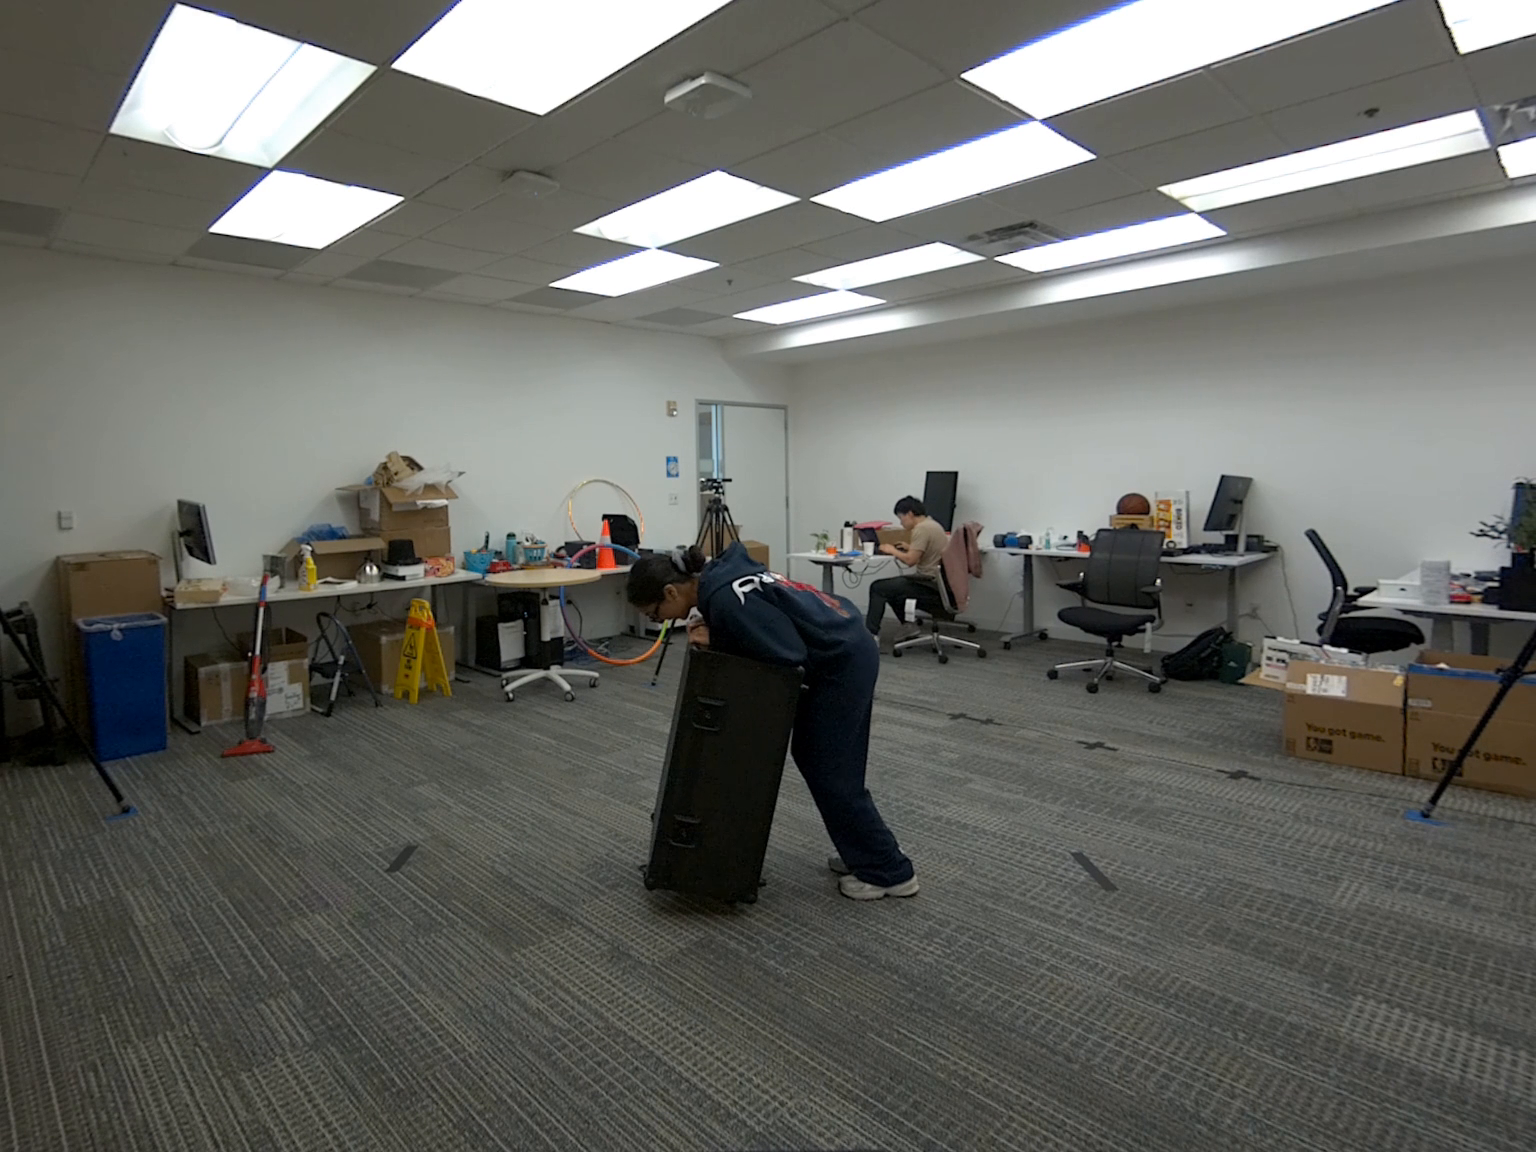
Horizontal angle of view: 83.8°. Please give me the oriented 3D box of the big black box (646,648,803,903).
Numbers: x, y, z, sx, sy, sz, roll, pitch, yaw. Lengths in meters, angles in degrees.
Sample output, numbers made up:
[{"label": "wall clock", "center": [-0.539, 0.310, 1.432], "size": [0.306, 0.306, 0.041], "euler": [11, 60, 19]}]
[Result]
[{"label": "big black box", "center": [-0.149, 0.627, 2.901], "size": [0.395, 0.857, 0.526], "euler": [11, 7, -5]}]
